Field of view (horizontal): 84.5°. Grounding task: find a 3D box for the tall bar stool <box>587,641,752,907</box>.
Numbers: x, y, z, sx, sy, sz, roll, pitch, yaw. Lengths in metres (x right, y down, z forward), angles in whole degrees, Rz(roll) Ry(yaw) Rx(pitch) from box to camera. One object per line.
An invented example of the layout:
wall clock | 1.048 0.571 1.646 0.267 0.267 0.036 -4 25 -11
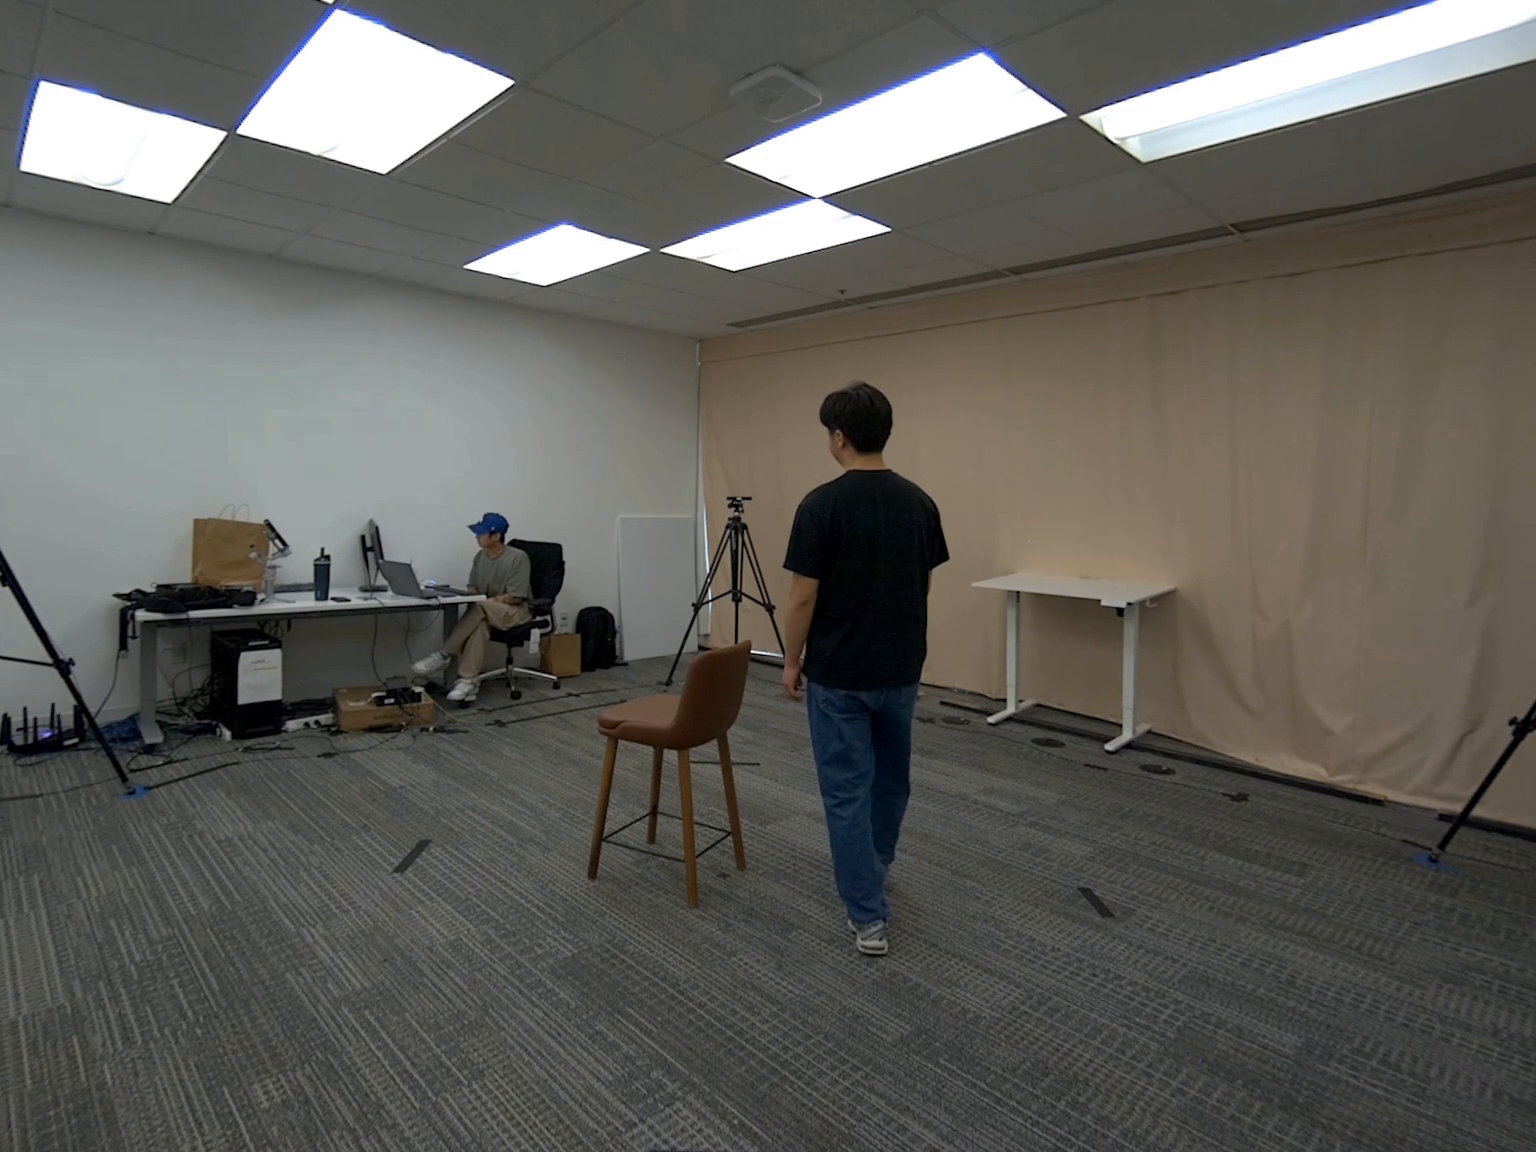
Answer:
tall bar stool | -0.350 0.667 3.092 0.478 0.887 0.448 5 5 29
